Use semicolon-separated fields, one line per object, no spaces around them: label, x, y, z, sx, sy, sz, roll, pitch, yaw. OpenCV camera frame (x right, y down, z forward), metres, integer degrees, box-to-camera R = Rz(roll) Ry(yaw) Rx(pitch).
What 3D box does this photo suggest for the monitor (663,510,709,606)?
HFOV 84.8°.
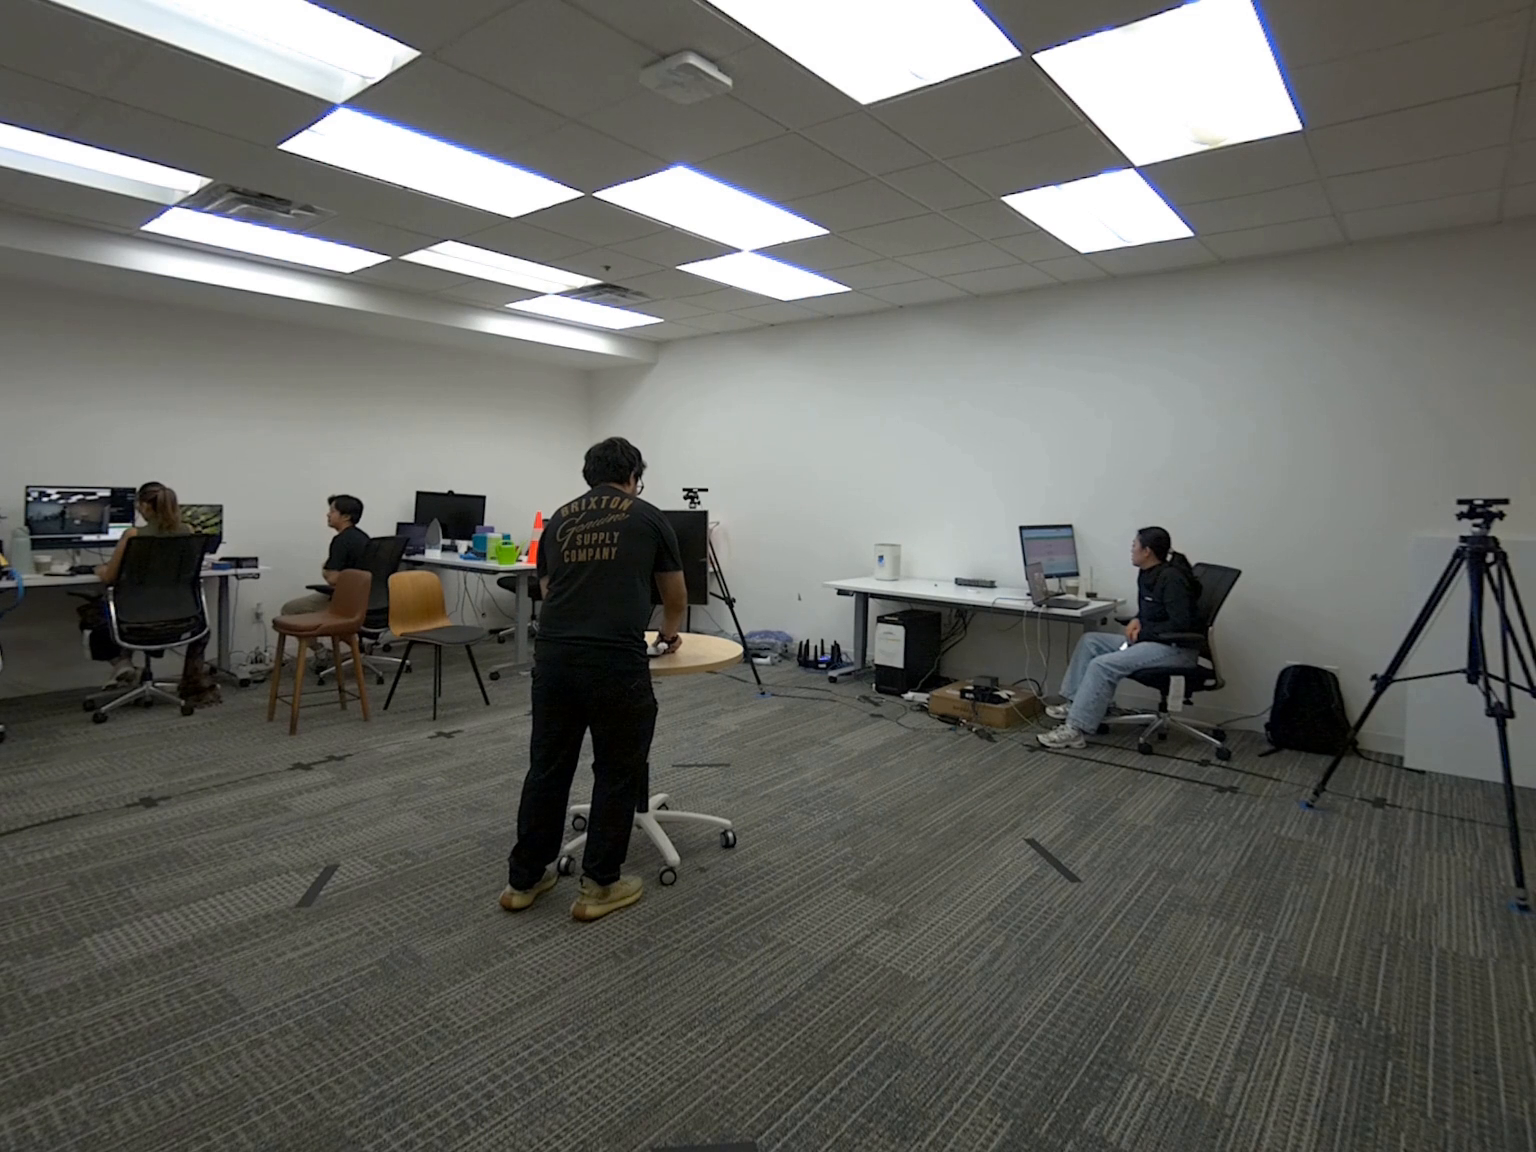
monitor;-0.511;0.024;3.144;0.569;0.551;0.210;2;5;6
